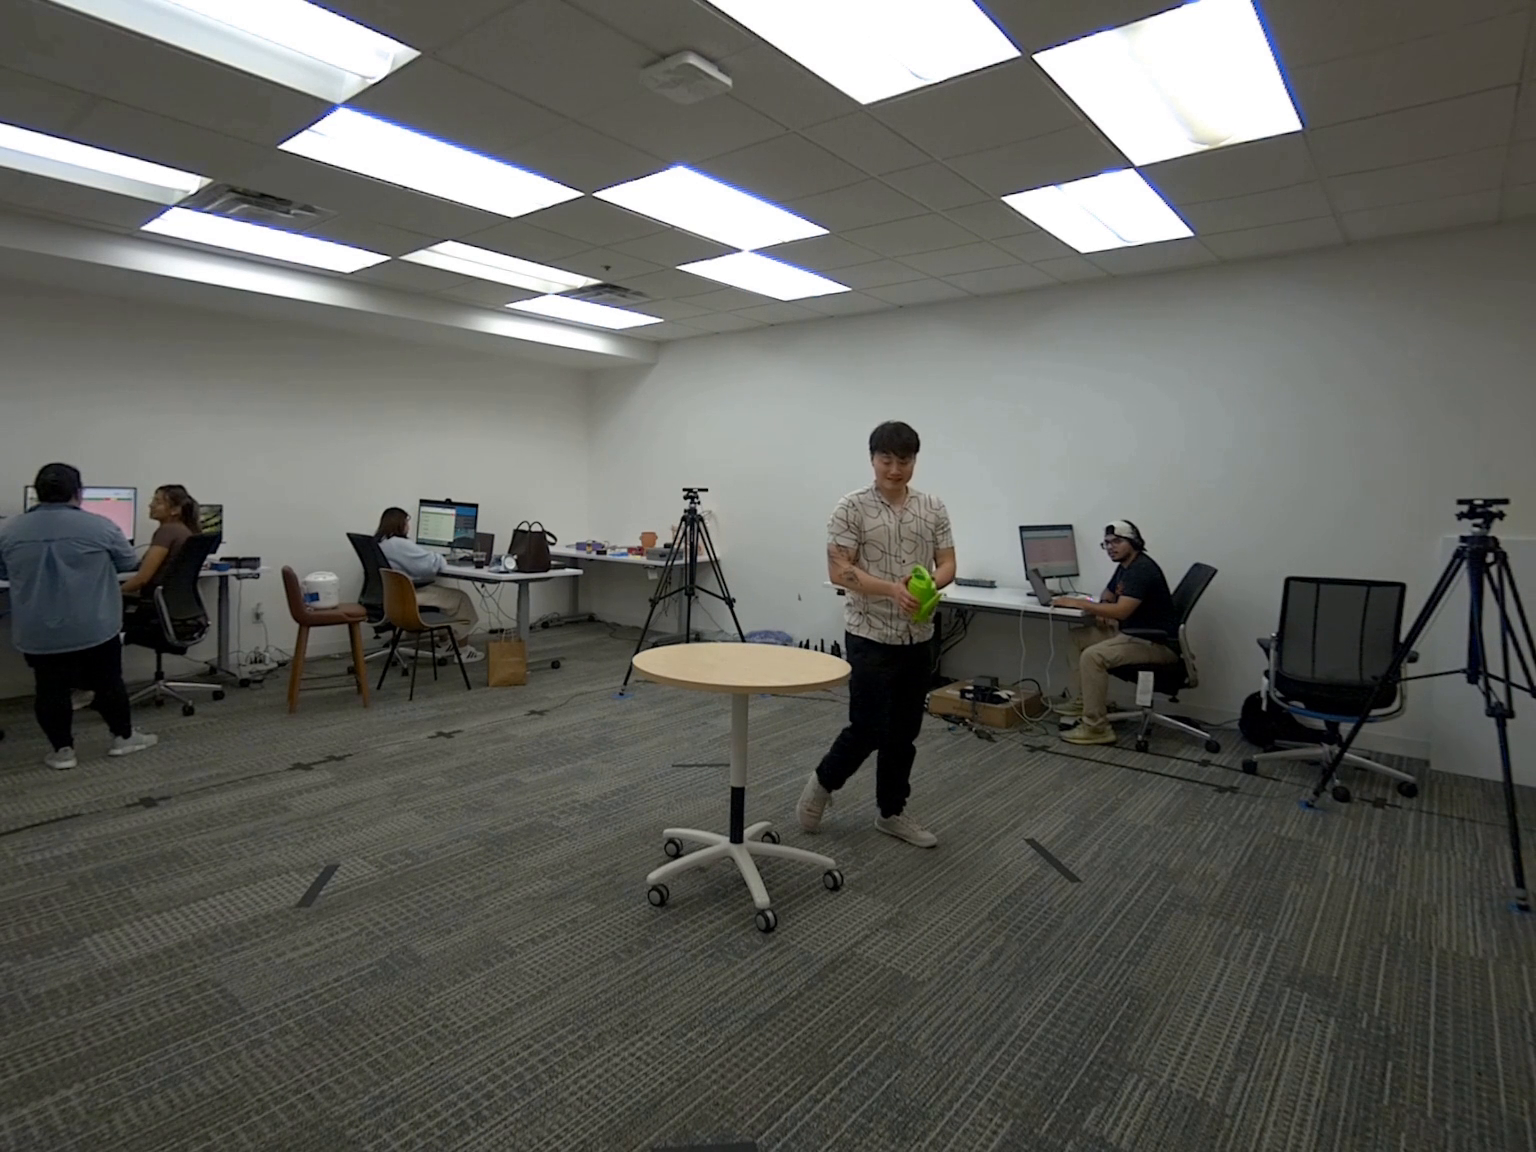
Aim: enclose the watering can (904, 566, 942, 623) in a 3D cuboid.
[{"bbox_3d":[0.535,0.077,3.073,0.098,0.174,0.283,7,23,-2],"label":"watering can"}]
